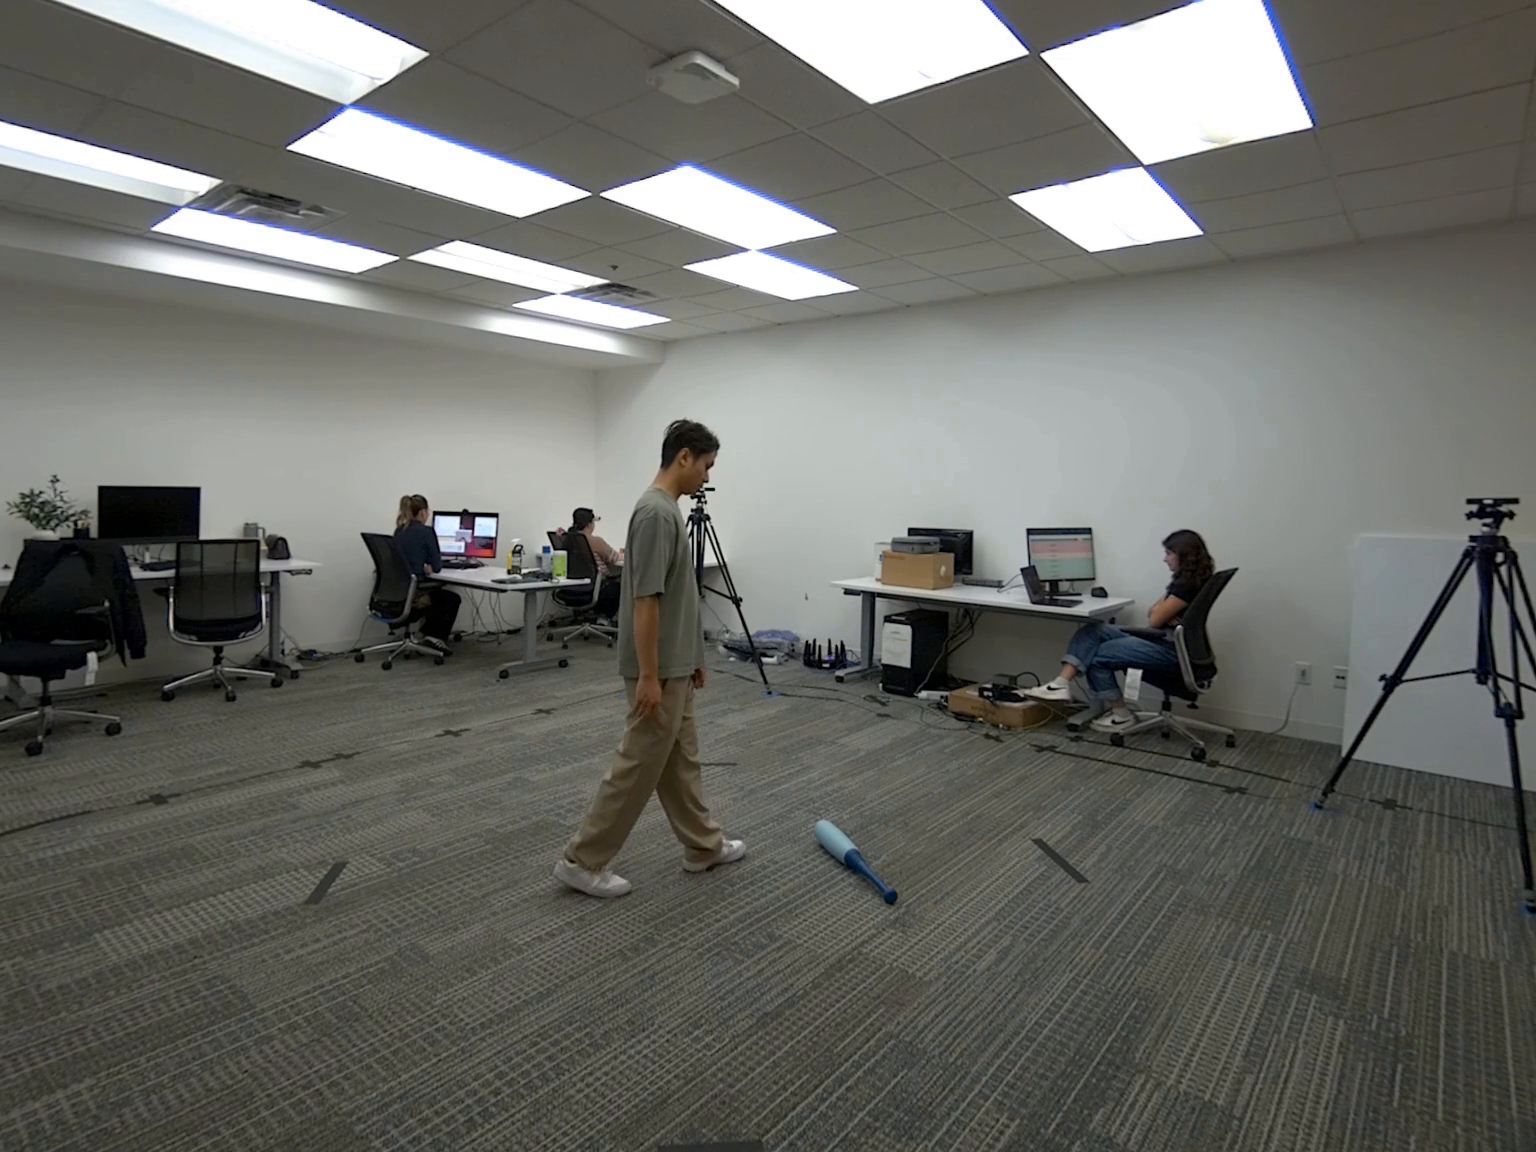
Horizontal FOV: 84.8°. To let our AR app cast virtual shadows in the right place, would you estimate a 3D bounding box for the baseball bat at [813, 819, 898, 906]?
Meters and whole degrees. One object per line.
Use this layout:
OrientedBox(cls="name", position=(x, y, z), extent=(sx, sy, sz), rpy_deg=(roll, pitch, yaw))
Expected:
OrientedBox(cls="baseball bat", position=(0.307, 1.040, 3.118), extent=(0.087, 0.088, 0.557), rpy_deg=(-1, 8, -21))
